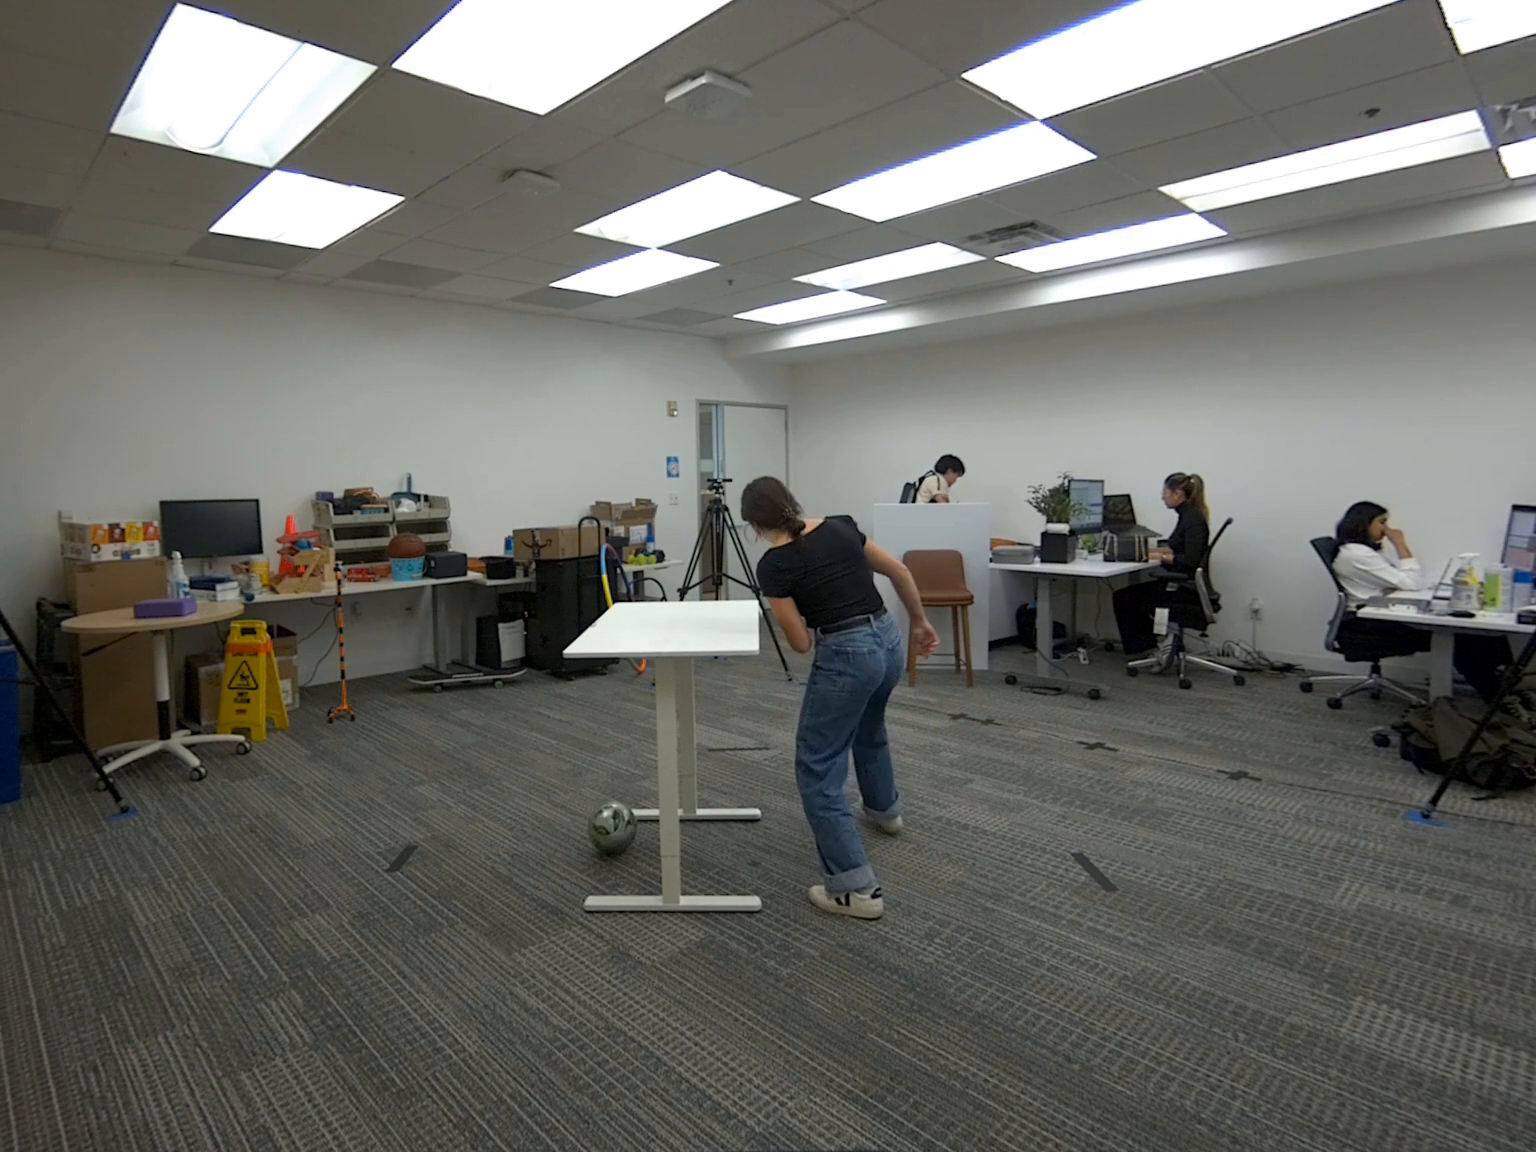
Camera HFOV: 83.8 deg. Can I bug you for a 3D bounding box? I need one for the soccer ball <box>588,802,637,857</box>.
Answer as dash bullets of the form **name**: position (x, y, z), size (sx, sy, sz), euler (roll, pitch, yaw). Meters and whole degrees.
- **soccer ball**: position (-0.583, 0.948, 3.222), size (0.187, 0.187, 0.188), euler (-1, 5, -2)
